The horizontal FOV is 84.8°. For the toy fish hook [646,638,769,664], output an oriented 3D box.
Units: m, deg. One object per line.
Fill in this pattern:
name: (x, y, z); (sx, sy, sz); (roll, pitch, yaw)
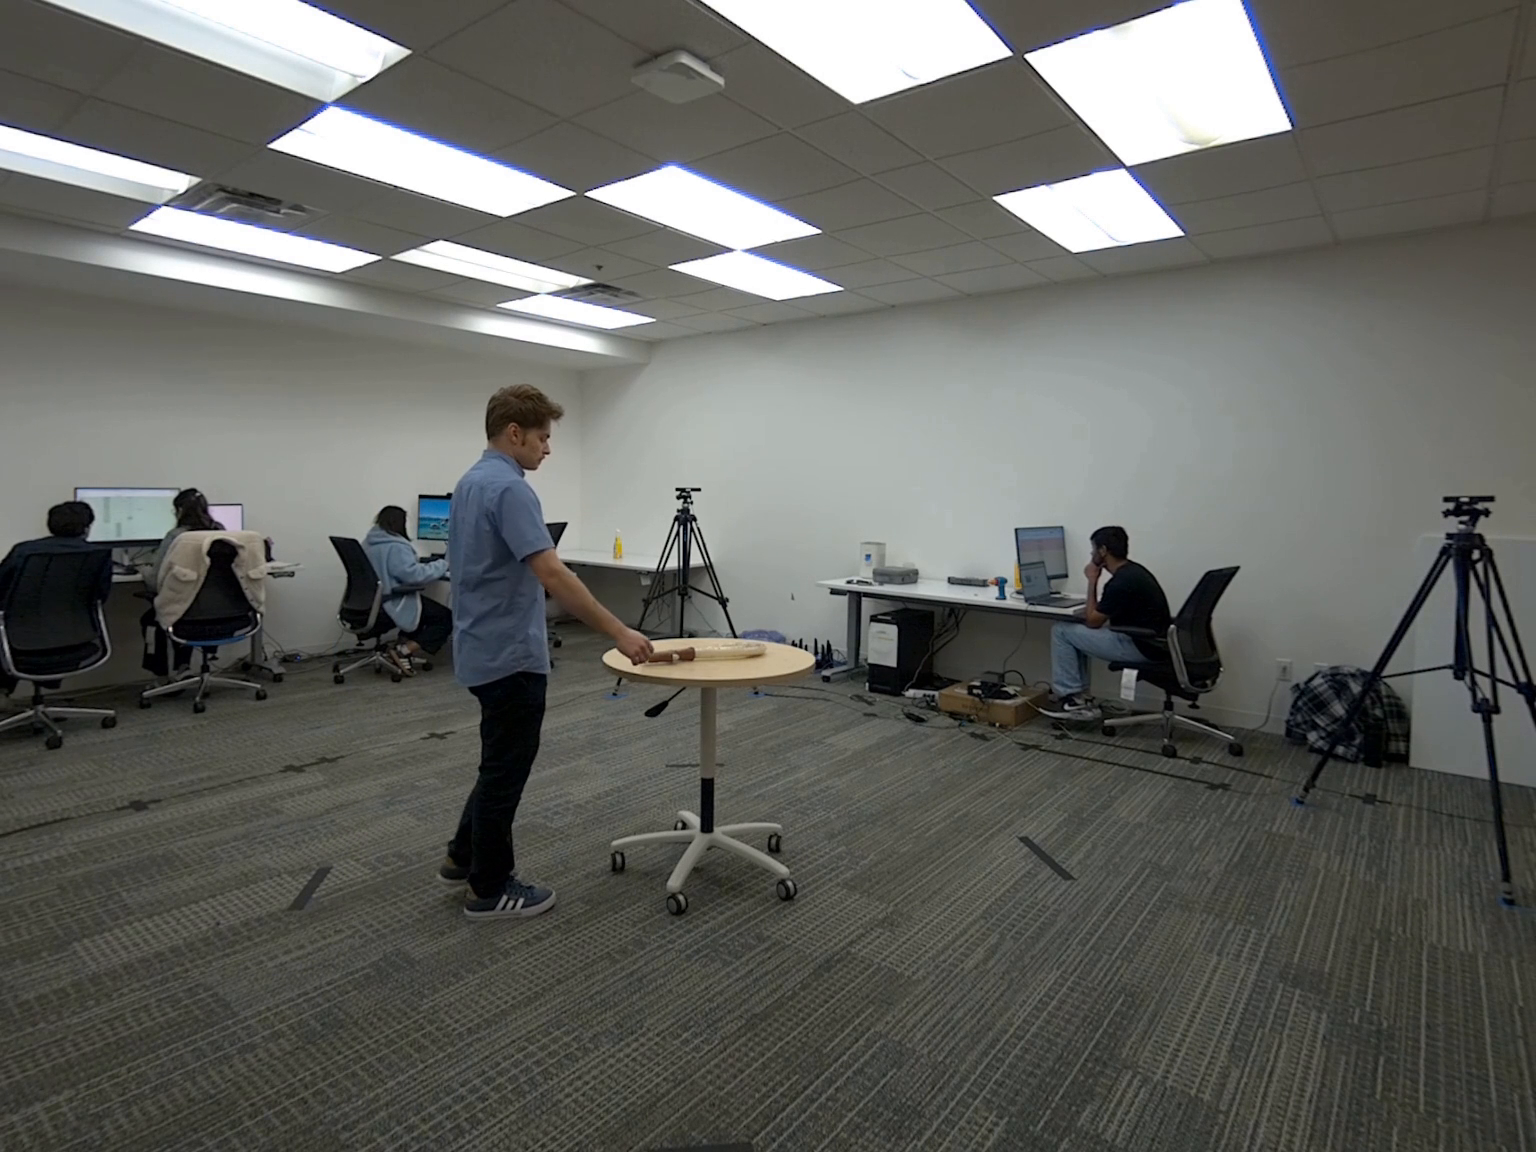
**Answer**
toy fish hook: (-0.253, 0.279, 3.060); (0.493, 0.048, 0.230); (-2, 0, -29)
